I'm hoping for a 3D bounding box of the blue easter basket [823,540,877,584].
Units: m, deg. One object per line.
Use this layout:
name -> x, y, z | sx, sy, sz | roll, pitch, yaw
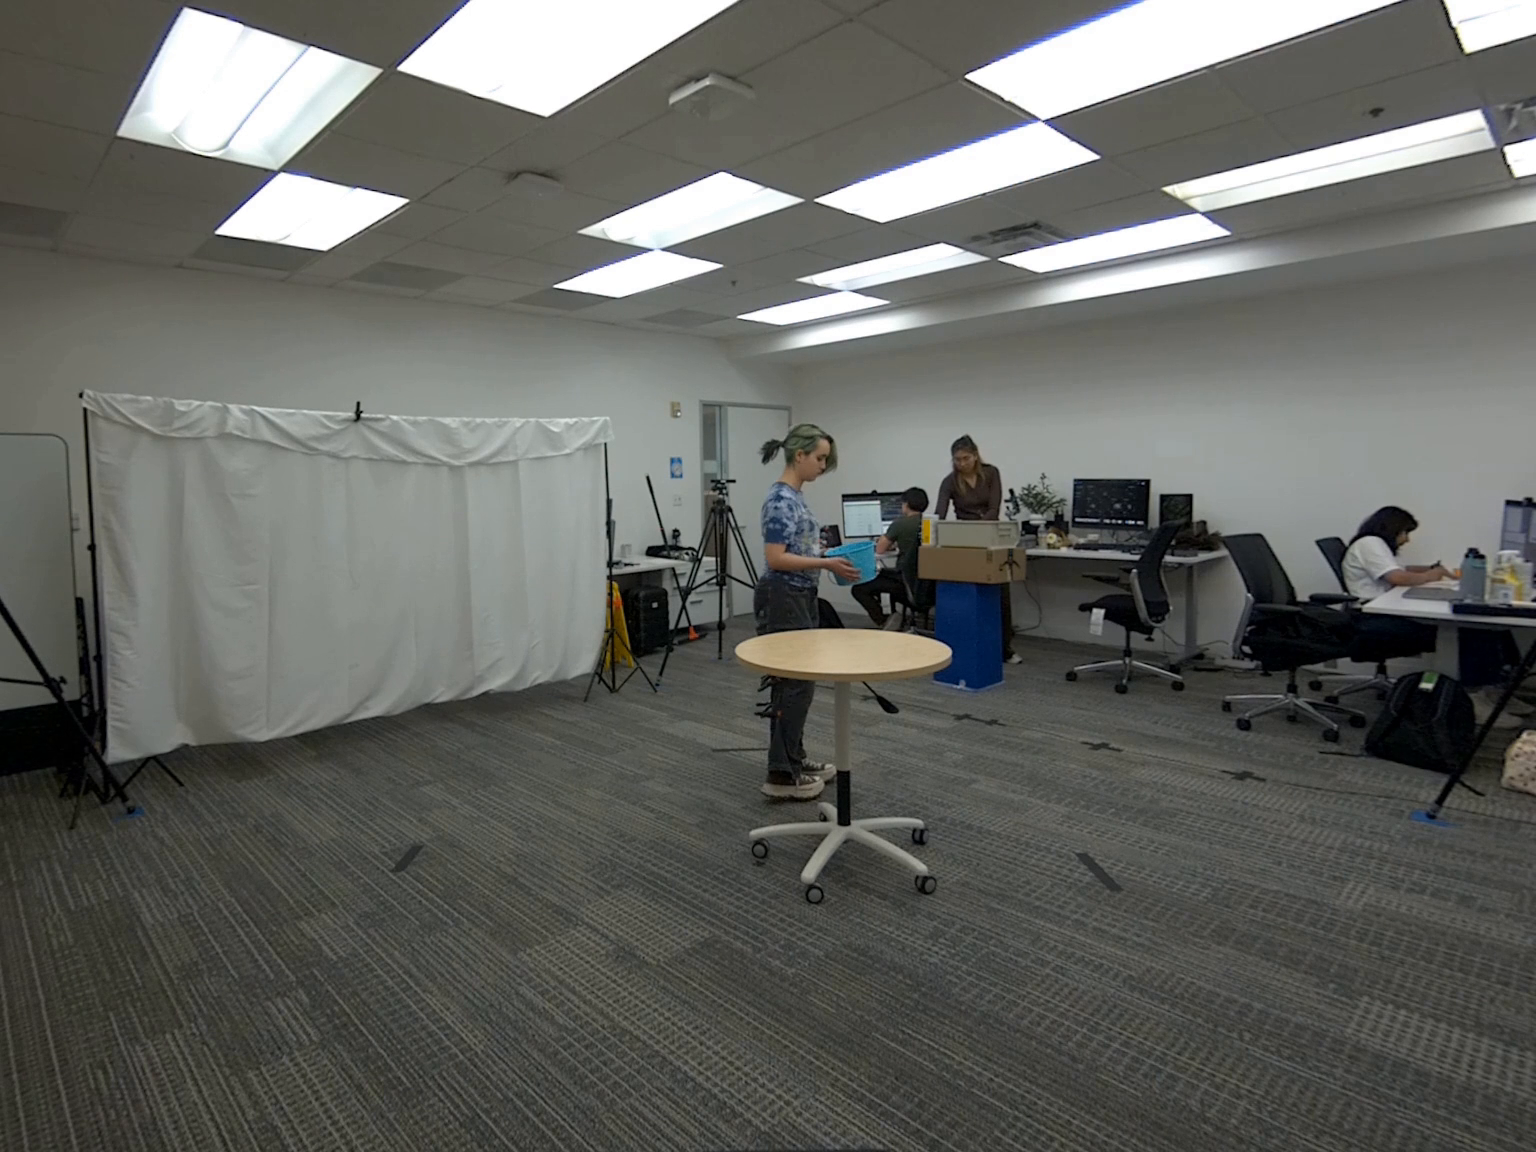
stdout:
blue easter basket -> 0.380, -0.051, 3.860 | 0.243, 0.155, 0.245 | -13, 6, -1
